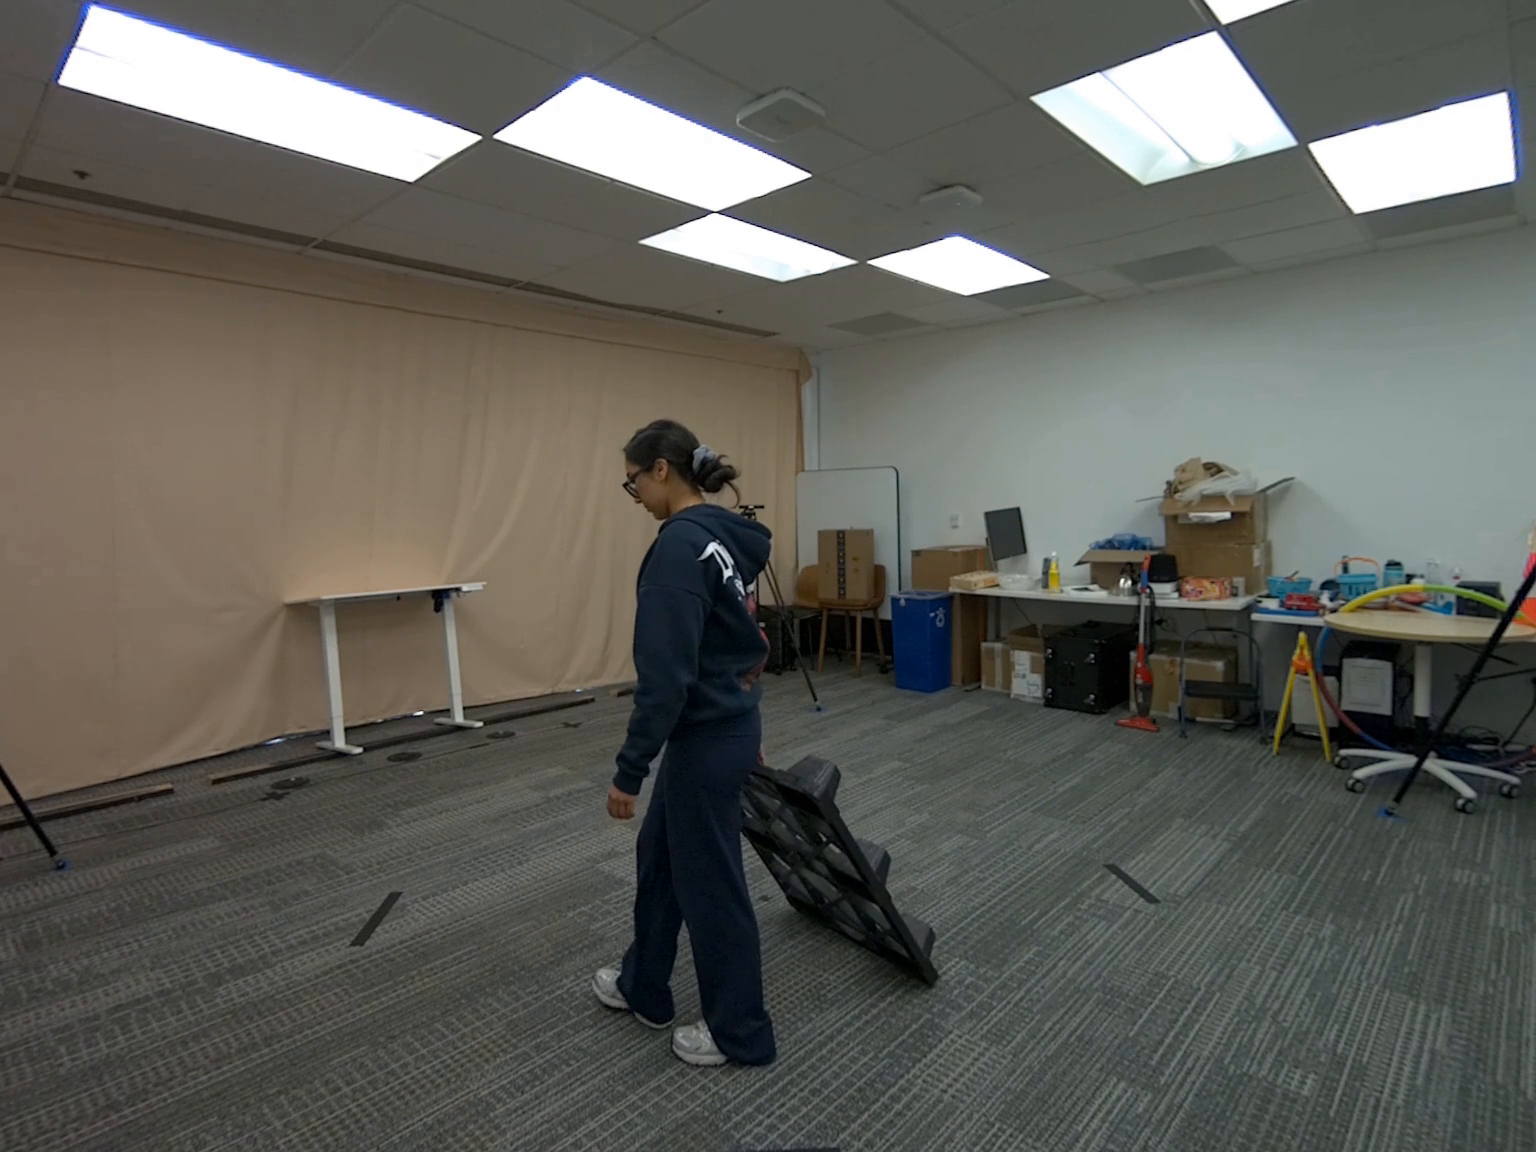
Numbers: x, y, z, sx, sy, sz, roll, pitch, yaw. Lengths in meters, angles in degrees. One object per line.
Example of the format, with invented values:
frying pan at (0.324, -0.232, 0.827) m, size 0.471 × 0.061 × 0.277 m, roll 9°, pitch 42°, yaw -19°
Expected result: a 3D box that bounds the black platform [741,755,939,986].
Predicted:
black platform at (0.147, 0.813, 2.532) m, size 0.142 × 0.788 × 0.625 m, roll -42°, pitch 26°, yaw -28°
